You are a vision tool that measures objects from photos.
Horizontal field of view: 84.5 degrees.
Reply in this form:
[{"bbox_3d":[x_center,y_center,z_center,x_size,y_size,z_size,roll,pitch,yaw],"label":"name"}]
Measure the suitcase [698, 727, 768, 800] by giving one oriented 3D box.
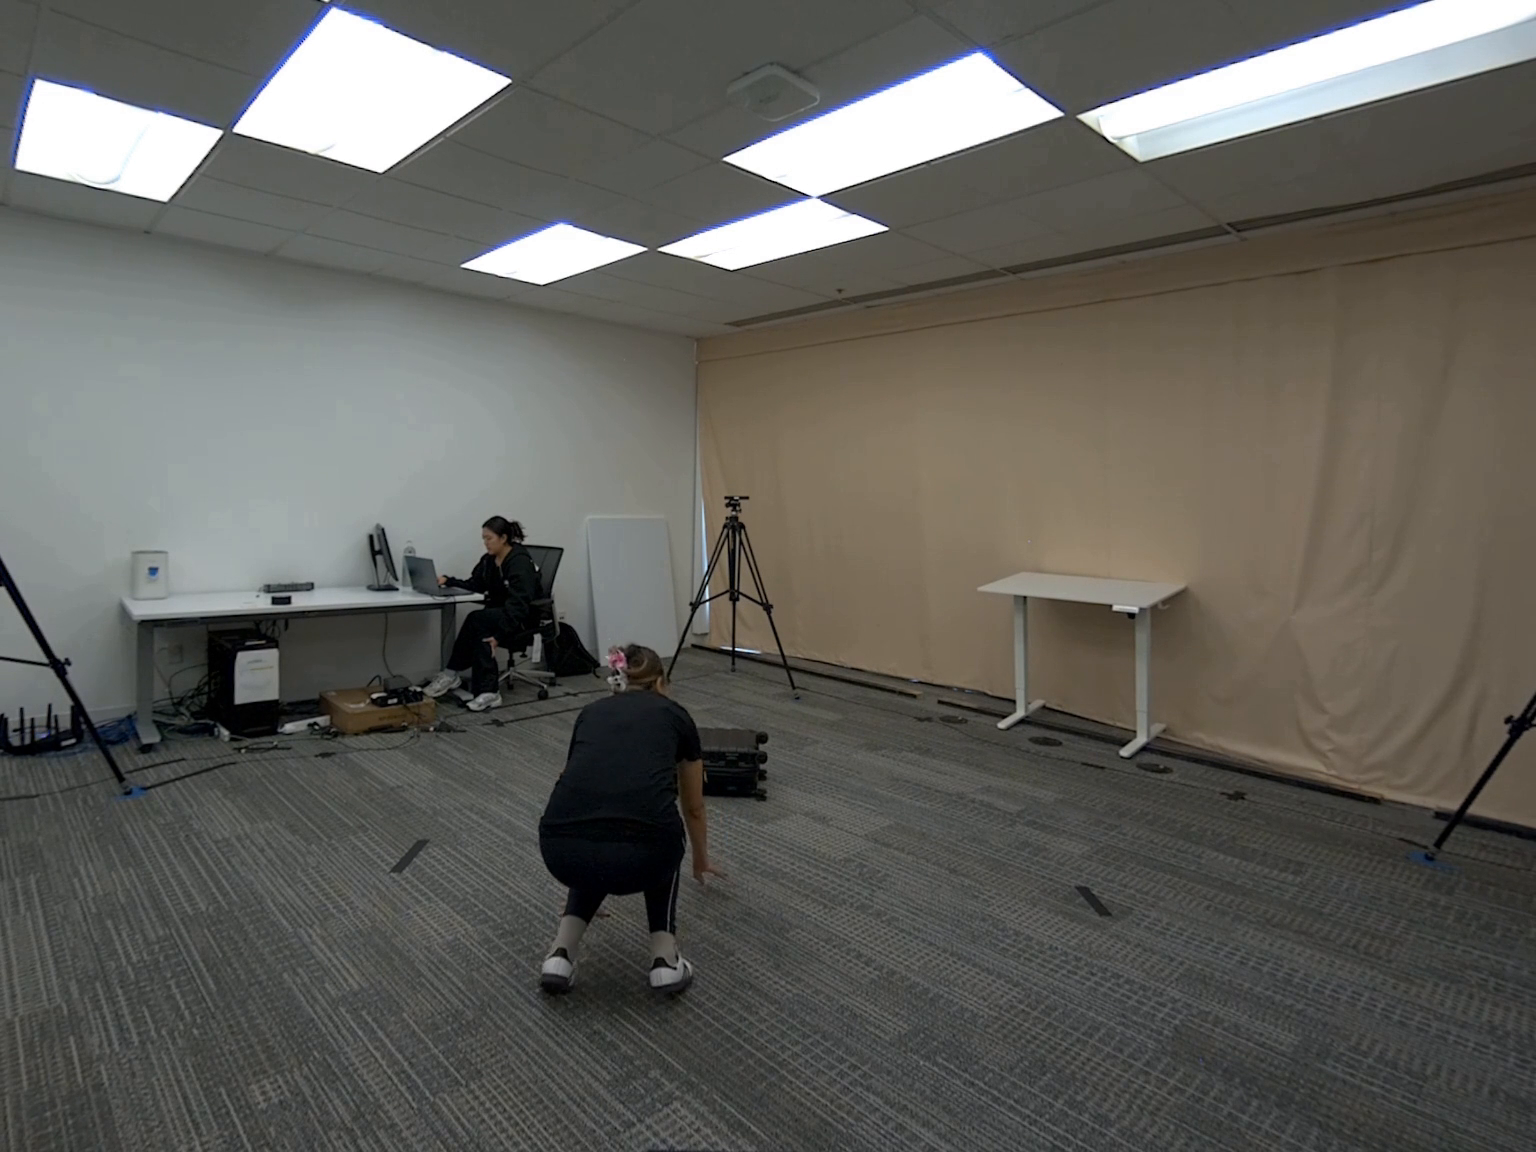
[{"bbox_3d":[-0.489,0.888,4.094,0.981,0.256,0.385,3,6,3],"label":"suitcase"}]
